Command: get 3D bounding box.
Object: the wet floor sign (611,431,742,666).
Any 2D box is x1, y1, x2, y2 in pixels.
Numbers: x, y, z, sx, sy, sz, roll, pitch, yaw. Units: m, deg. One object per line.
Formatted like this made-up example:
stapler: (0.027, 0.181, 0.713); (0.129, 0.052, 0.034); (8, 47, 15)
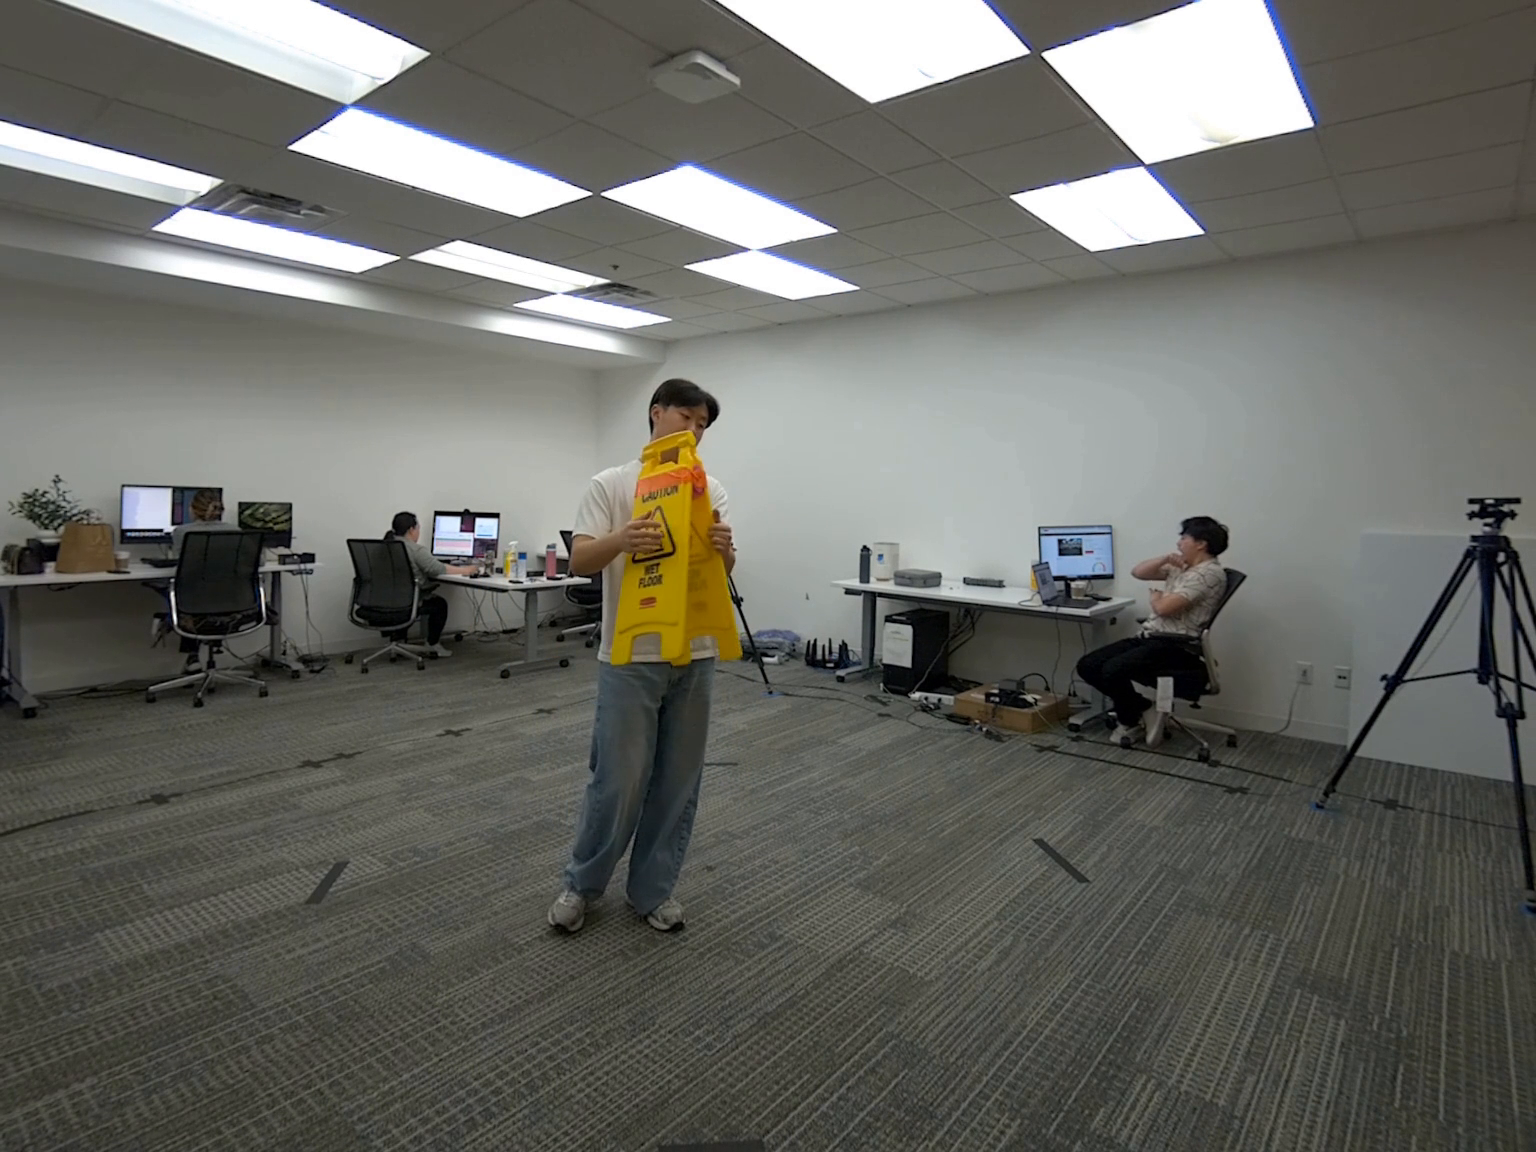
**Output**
wet floor sign: (-0.275, -0.088, 2.421); (0.289, 0.654, 0.279); (-14, -15, 40)
